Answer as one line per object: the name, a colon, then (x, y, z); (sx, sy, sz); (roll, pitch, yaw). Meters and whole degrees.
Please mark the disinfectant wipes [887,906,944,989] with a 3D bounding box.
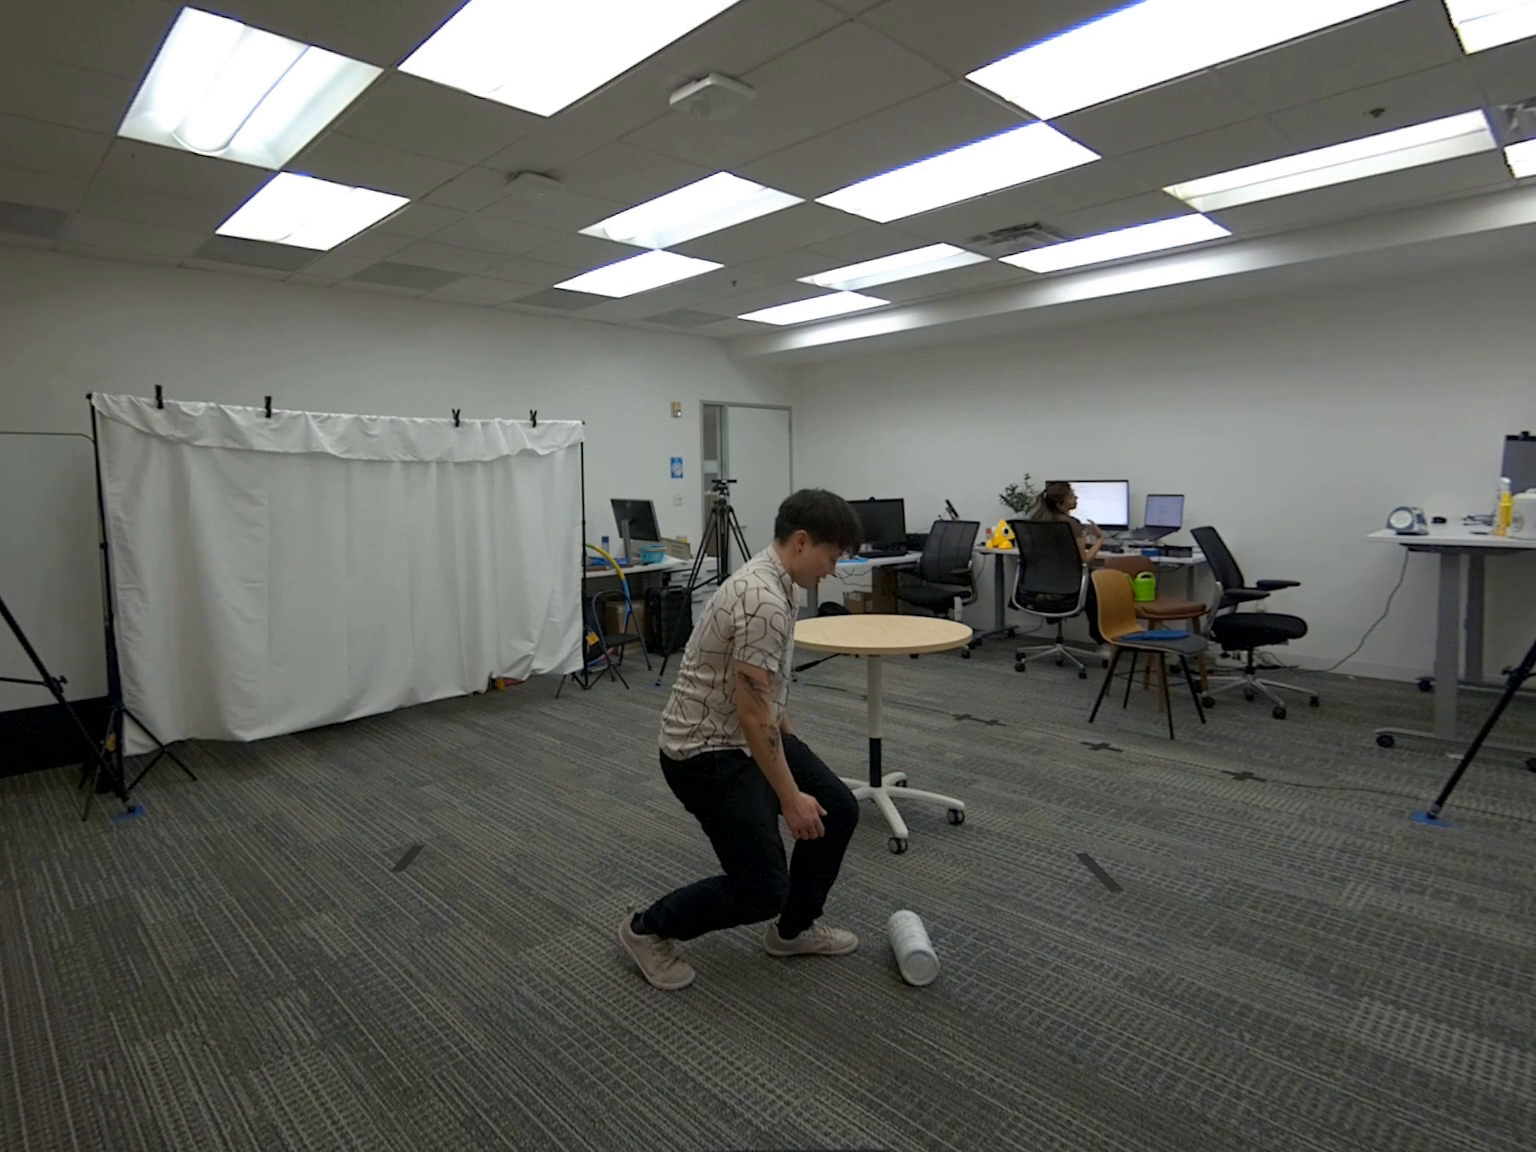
disinfectant wipes: (0.415, 1.053, 2.442); (0.118, 0.117, 0.218); (-1, 7, 0)
